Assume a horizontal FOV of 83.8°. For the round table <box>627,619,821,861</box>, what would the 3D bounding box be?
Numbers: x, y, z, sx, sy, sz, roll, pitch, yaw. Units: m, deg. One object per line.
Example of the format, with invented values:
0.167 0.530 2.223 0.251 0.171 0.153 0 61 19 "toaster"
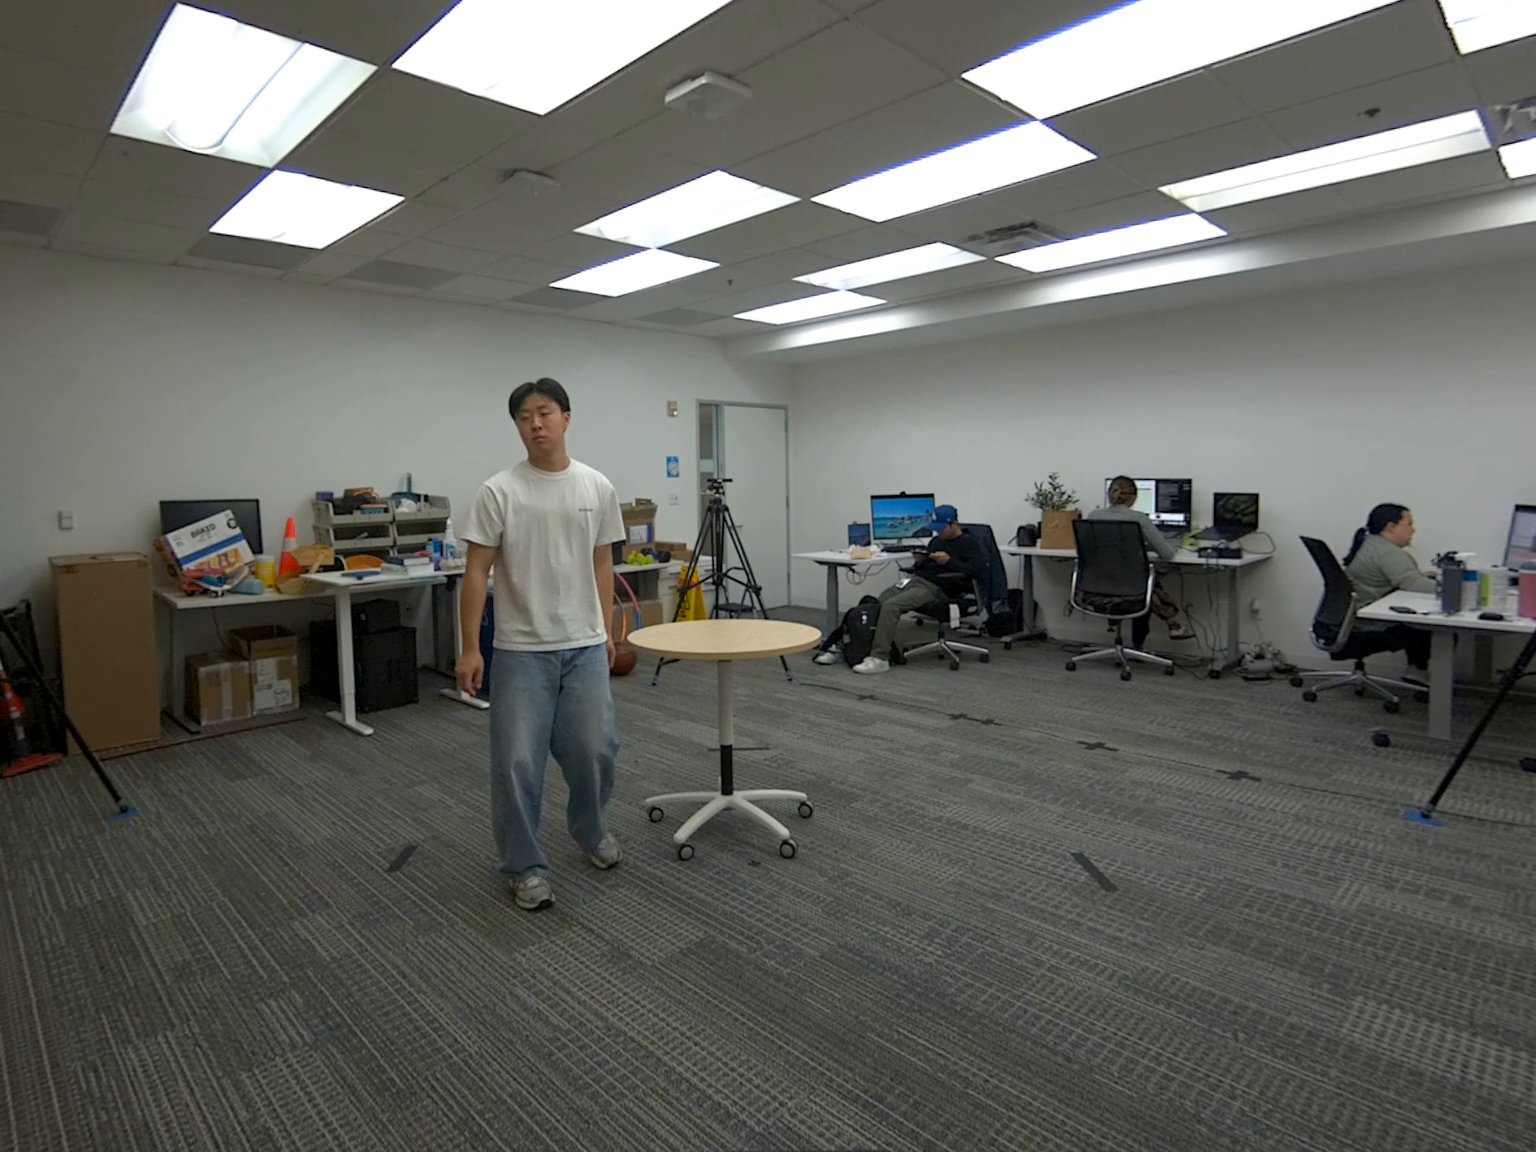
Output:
-0.157 0.623 3.409 0.763 0.791 0.767 -1 4 -2 "round table"
